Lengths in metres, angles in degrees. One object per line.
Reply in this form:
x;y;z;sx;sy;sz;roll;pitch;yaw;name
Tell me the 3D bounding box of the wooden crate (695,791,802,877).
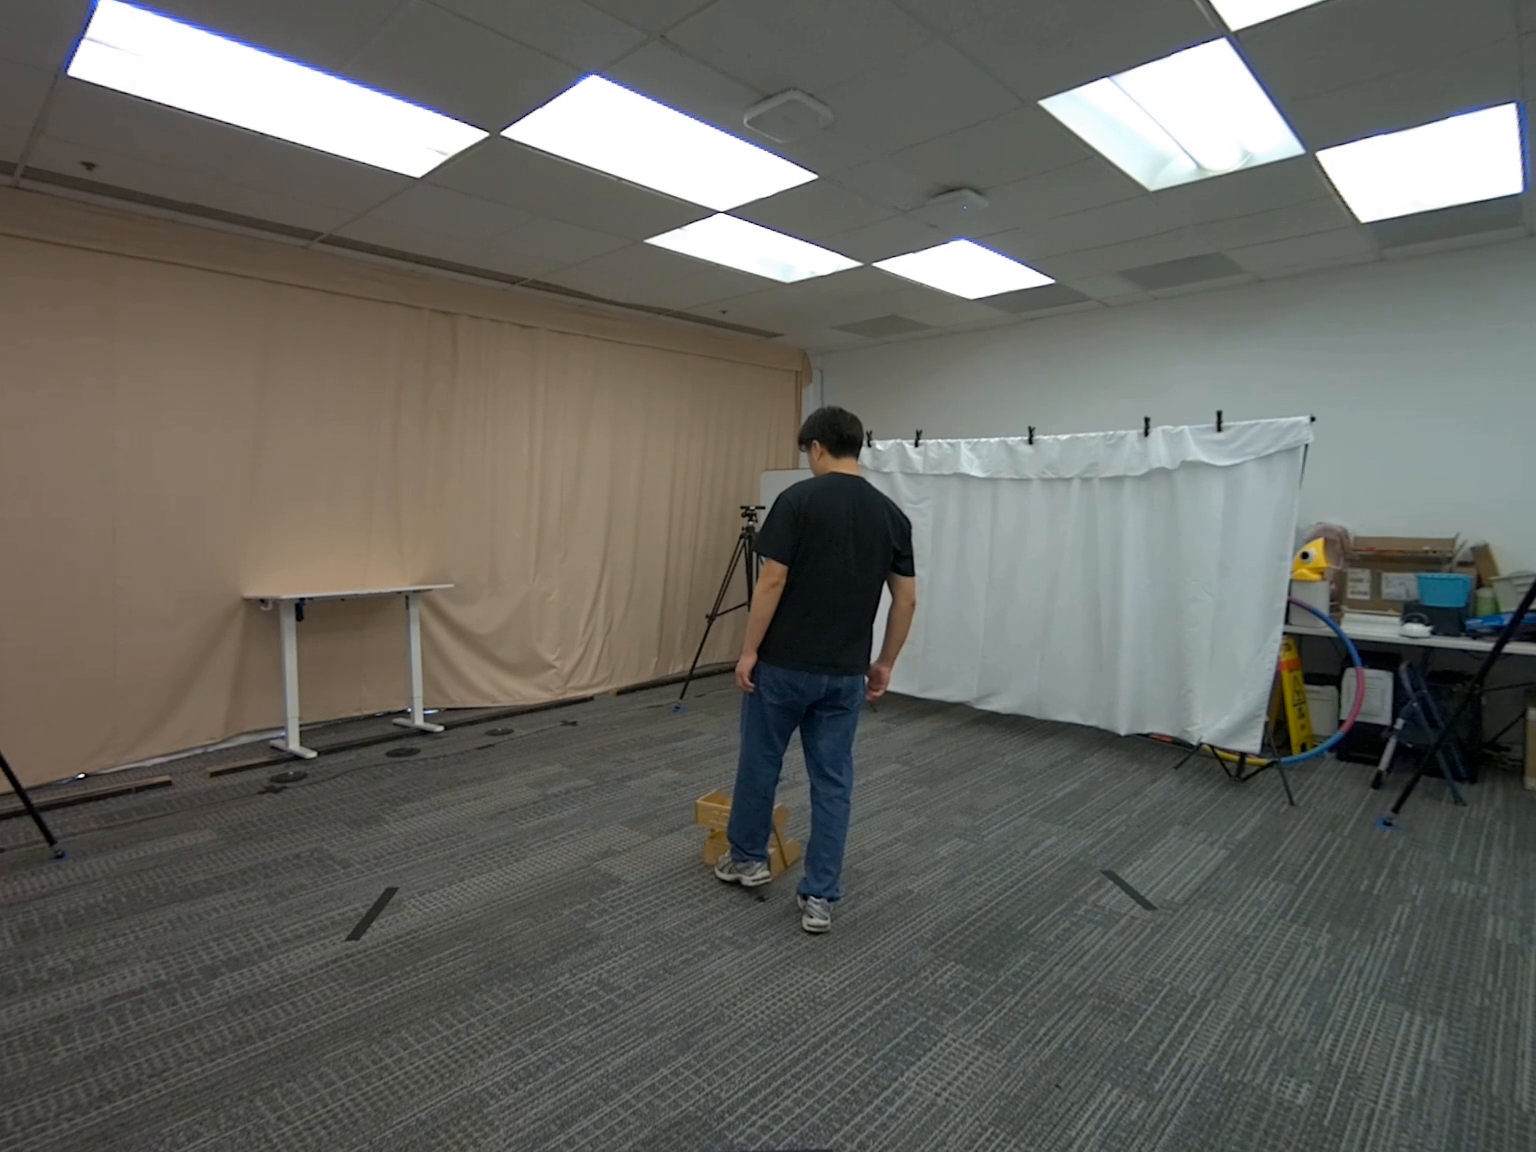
-0.074;0.985;3.289;0.334;0.272;0.294;2;5;29;wooden crate
